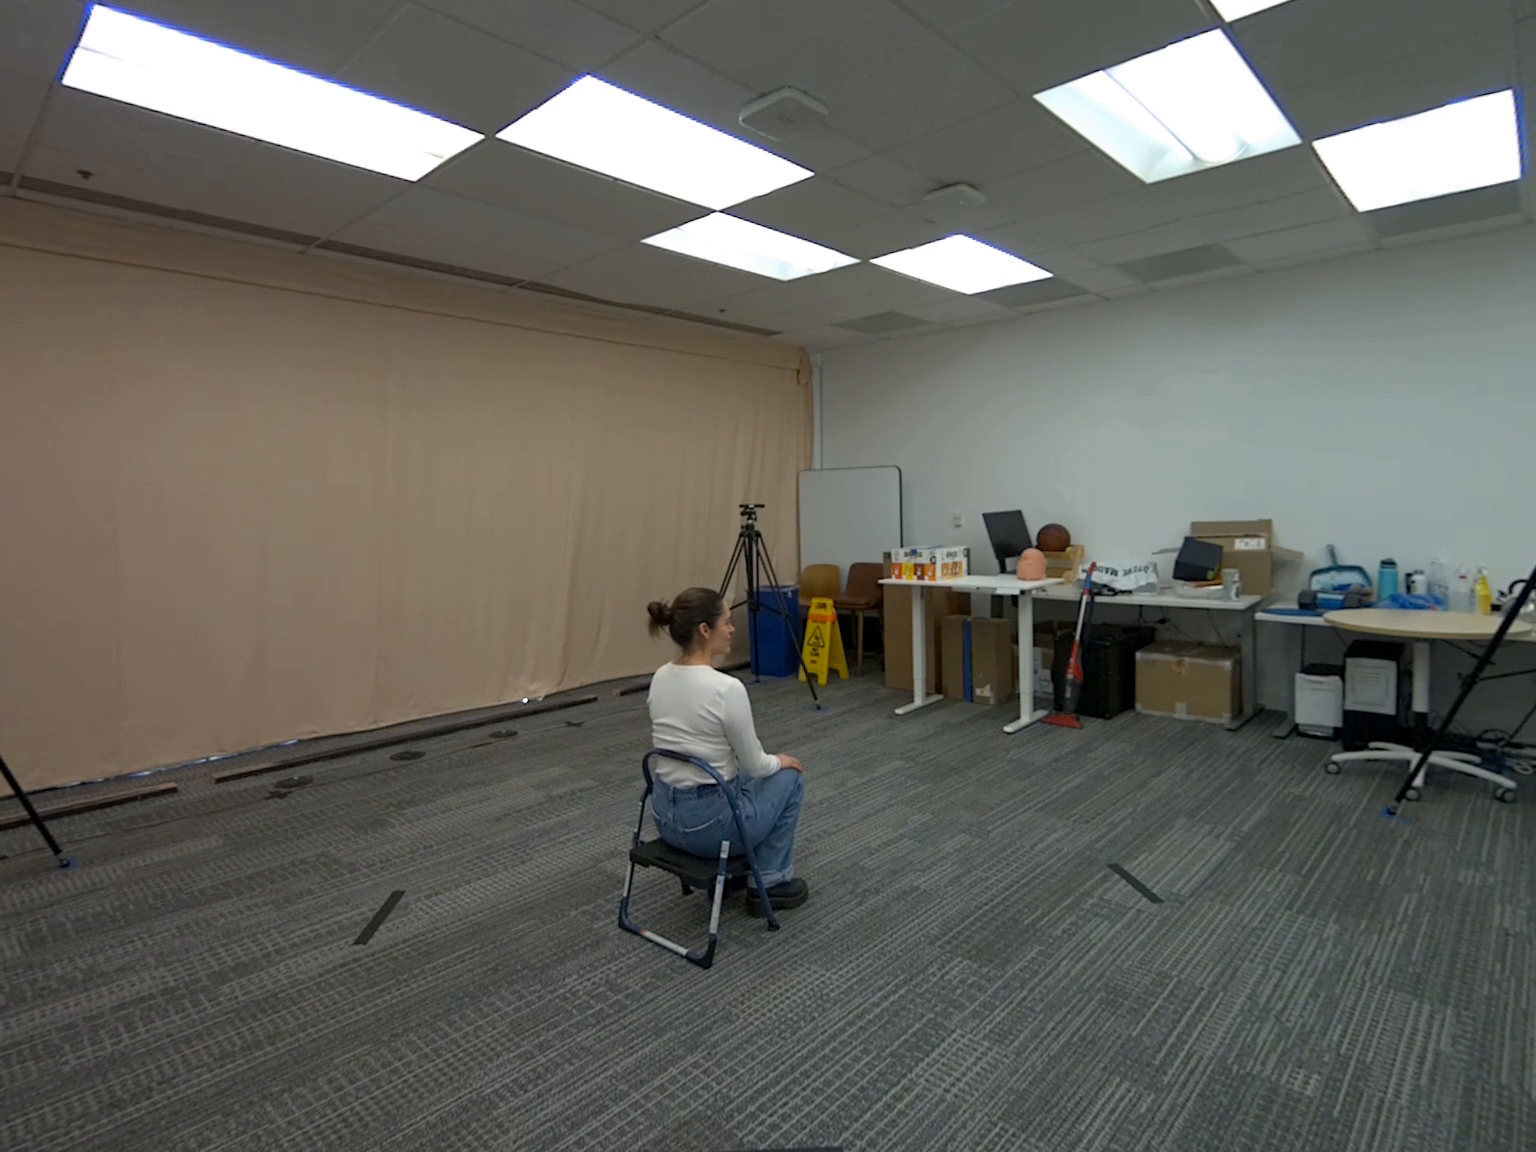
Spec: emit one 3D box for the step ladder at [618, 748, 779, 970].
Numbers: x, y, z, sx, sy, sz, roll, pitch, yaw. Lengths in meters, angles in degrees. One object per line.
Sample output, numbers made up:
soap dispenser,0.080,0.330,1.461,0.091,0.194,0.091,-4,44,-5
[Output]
step ladder,-0.240,0.859,2.766,0.445,0.605,0.339,2,4,40
